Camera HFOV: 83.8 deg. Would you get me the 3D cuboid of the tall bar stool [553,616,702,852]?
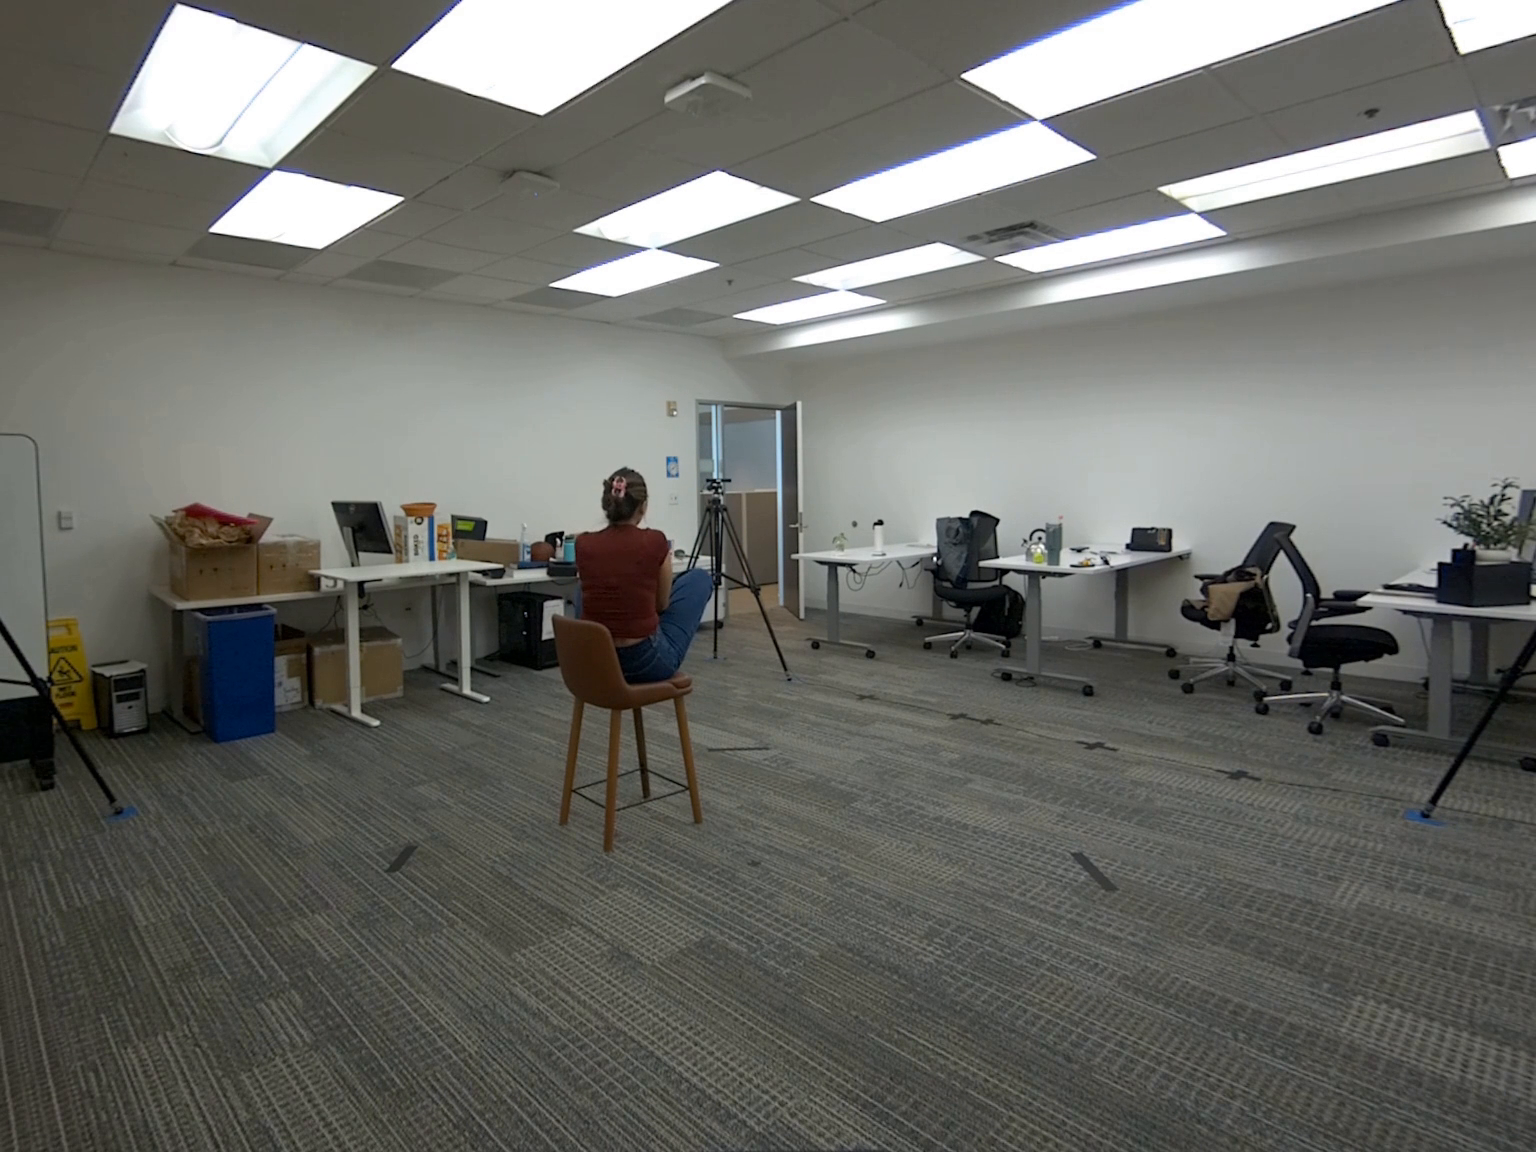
[{"bbox_3d":[-0.588,0.581,3.475,0.456,0.886,0.470,-7,6,-40],"label":"tall bar stool"}]
